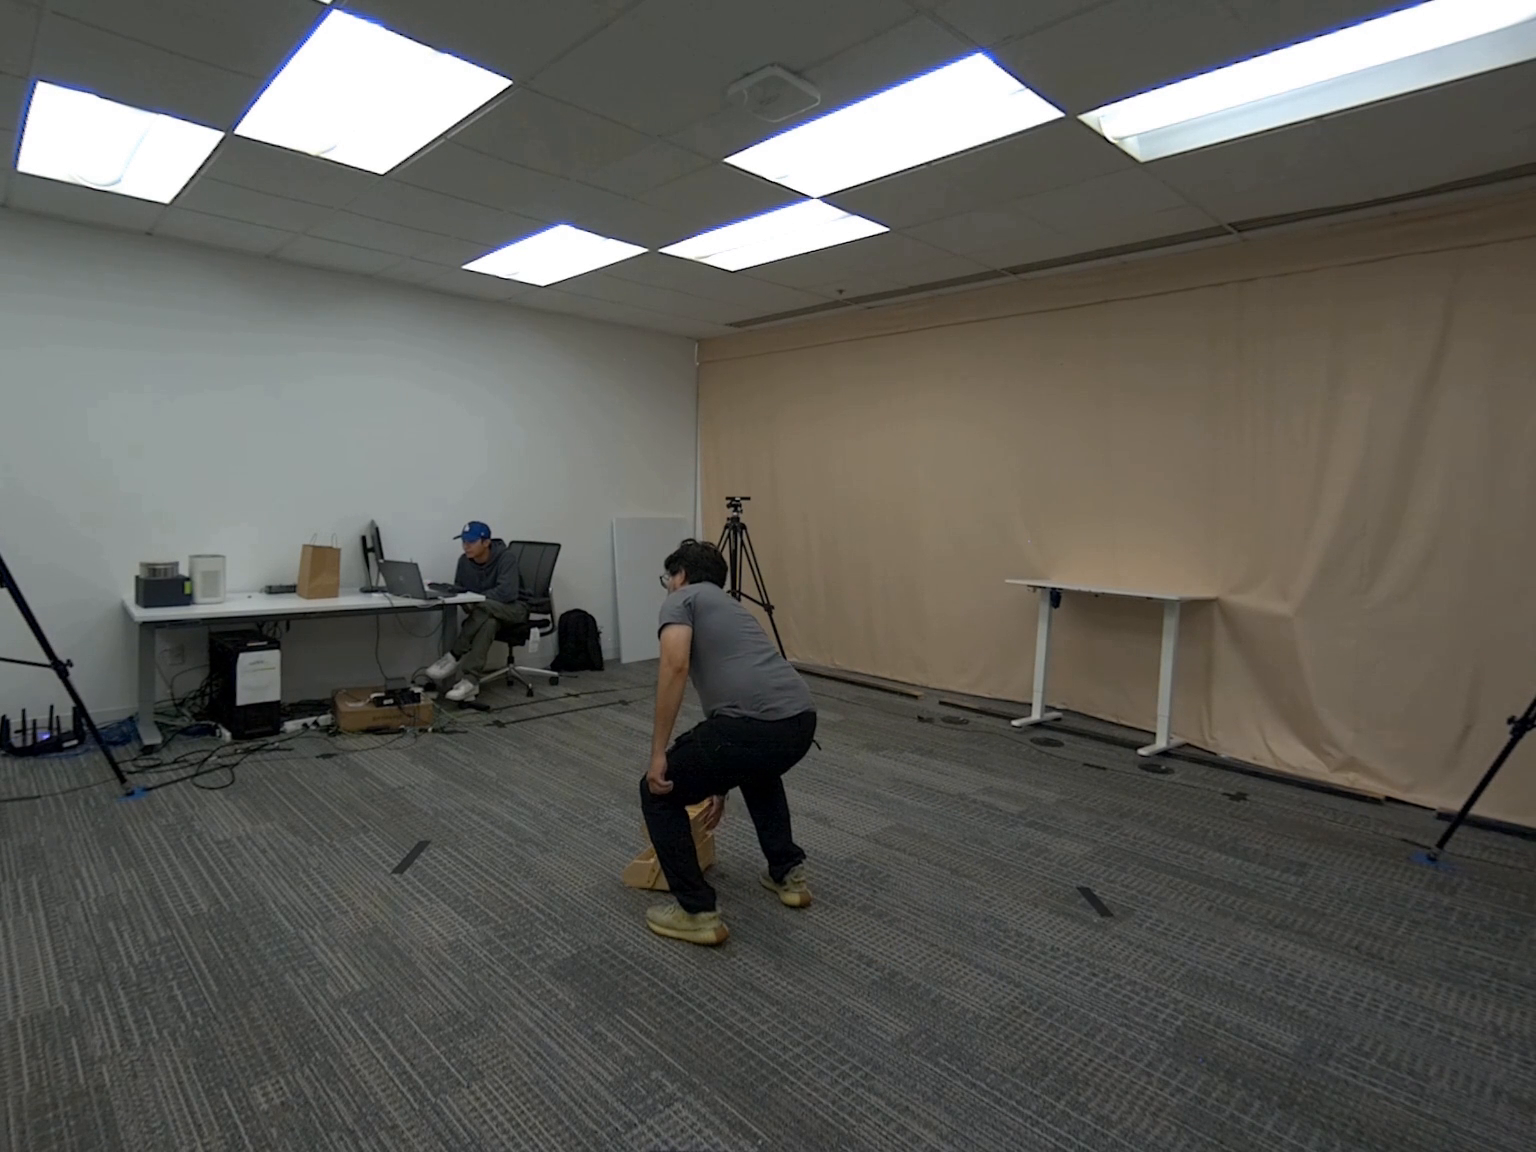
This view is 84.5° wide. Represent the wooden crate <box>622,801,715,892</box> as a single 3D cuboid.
[{"bbox_3d":[-0.355,0.958,3.095,0.306,0.273,0.321,-3,3,18],"label":"wooden crate"}]
